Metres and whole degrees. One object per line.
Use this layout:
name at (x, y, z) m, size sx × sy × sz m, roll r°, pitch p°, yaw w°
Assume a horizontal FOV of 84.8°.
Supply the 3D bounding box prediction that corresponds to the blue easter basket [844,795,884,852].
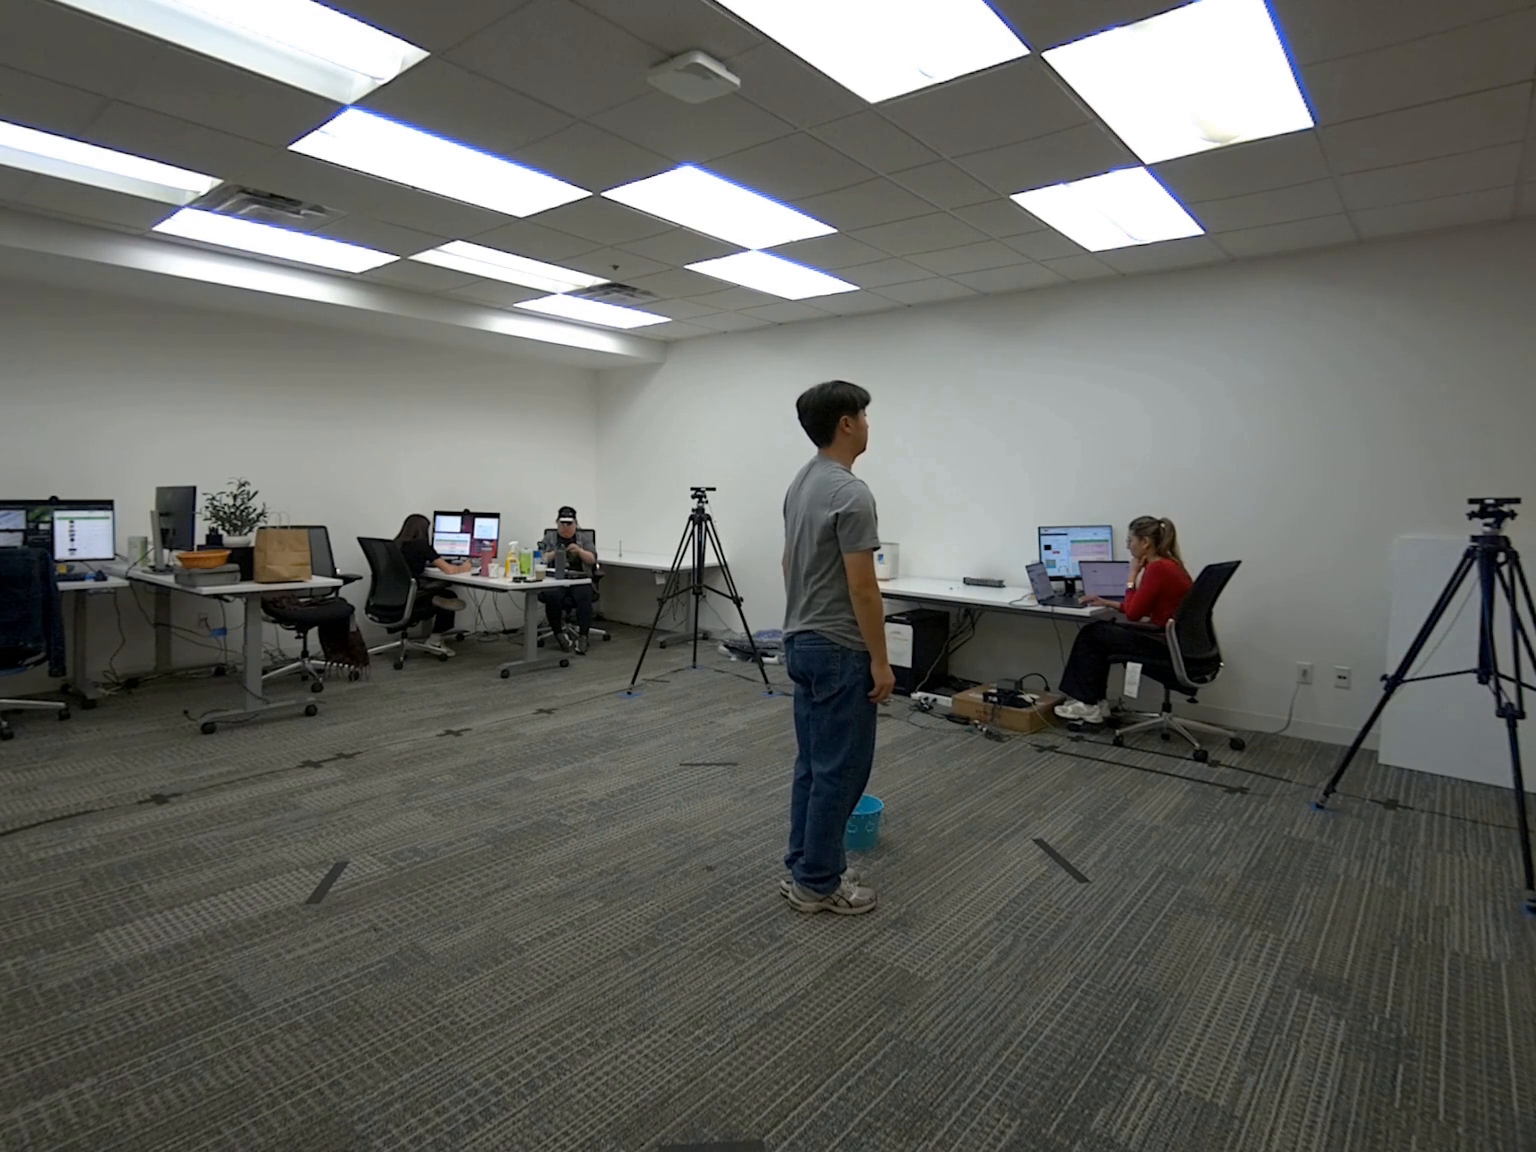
blue easter basket at (0.343, 0.973, 3.391) m, size 0.243 × 0.155 × 0.245 m, roll 0°, pitch 5°, yaw -2°
